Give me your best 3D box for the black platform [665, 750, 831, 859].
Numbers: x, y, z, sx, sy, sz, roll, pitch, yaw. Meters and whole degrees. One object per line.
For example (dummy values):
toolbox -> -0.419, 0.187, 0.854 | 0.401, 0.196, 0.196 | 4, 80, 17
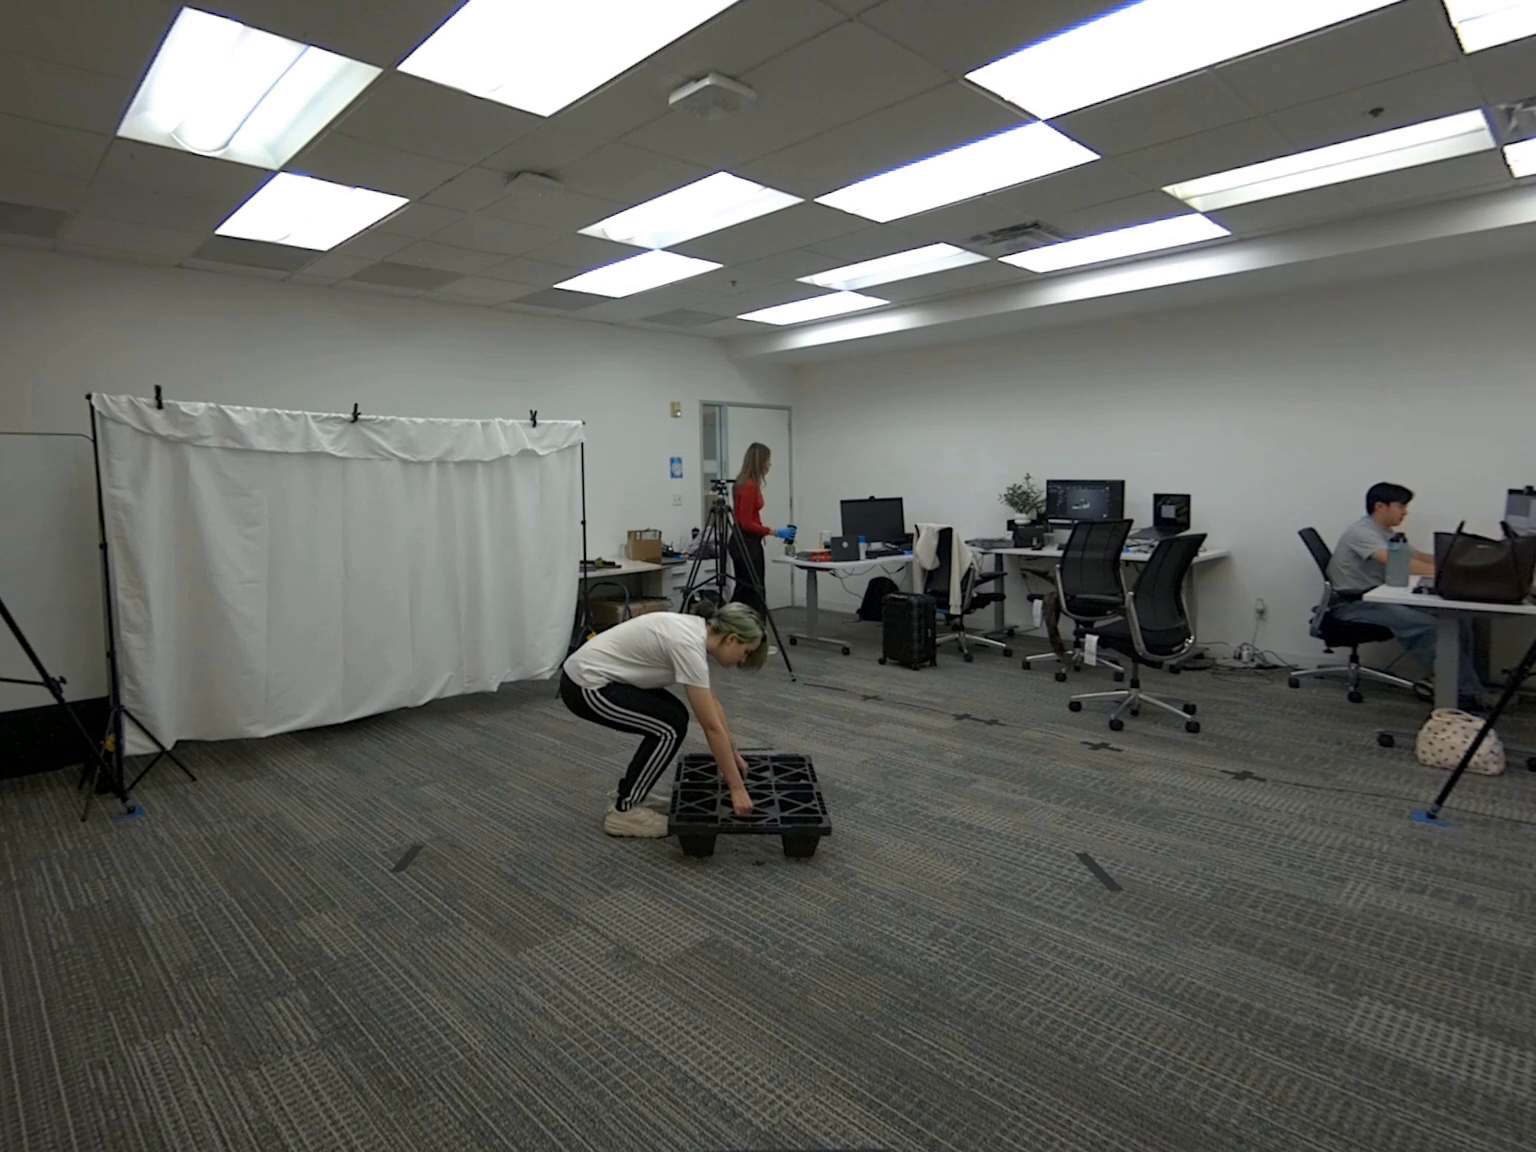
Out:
black platform -> -0.091, 0.911, 3.473 | 0.605, 0.143, 0.810 | 0, 6, -2
